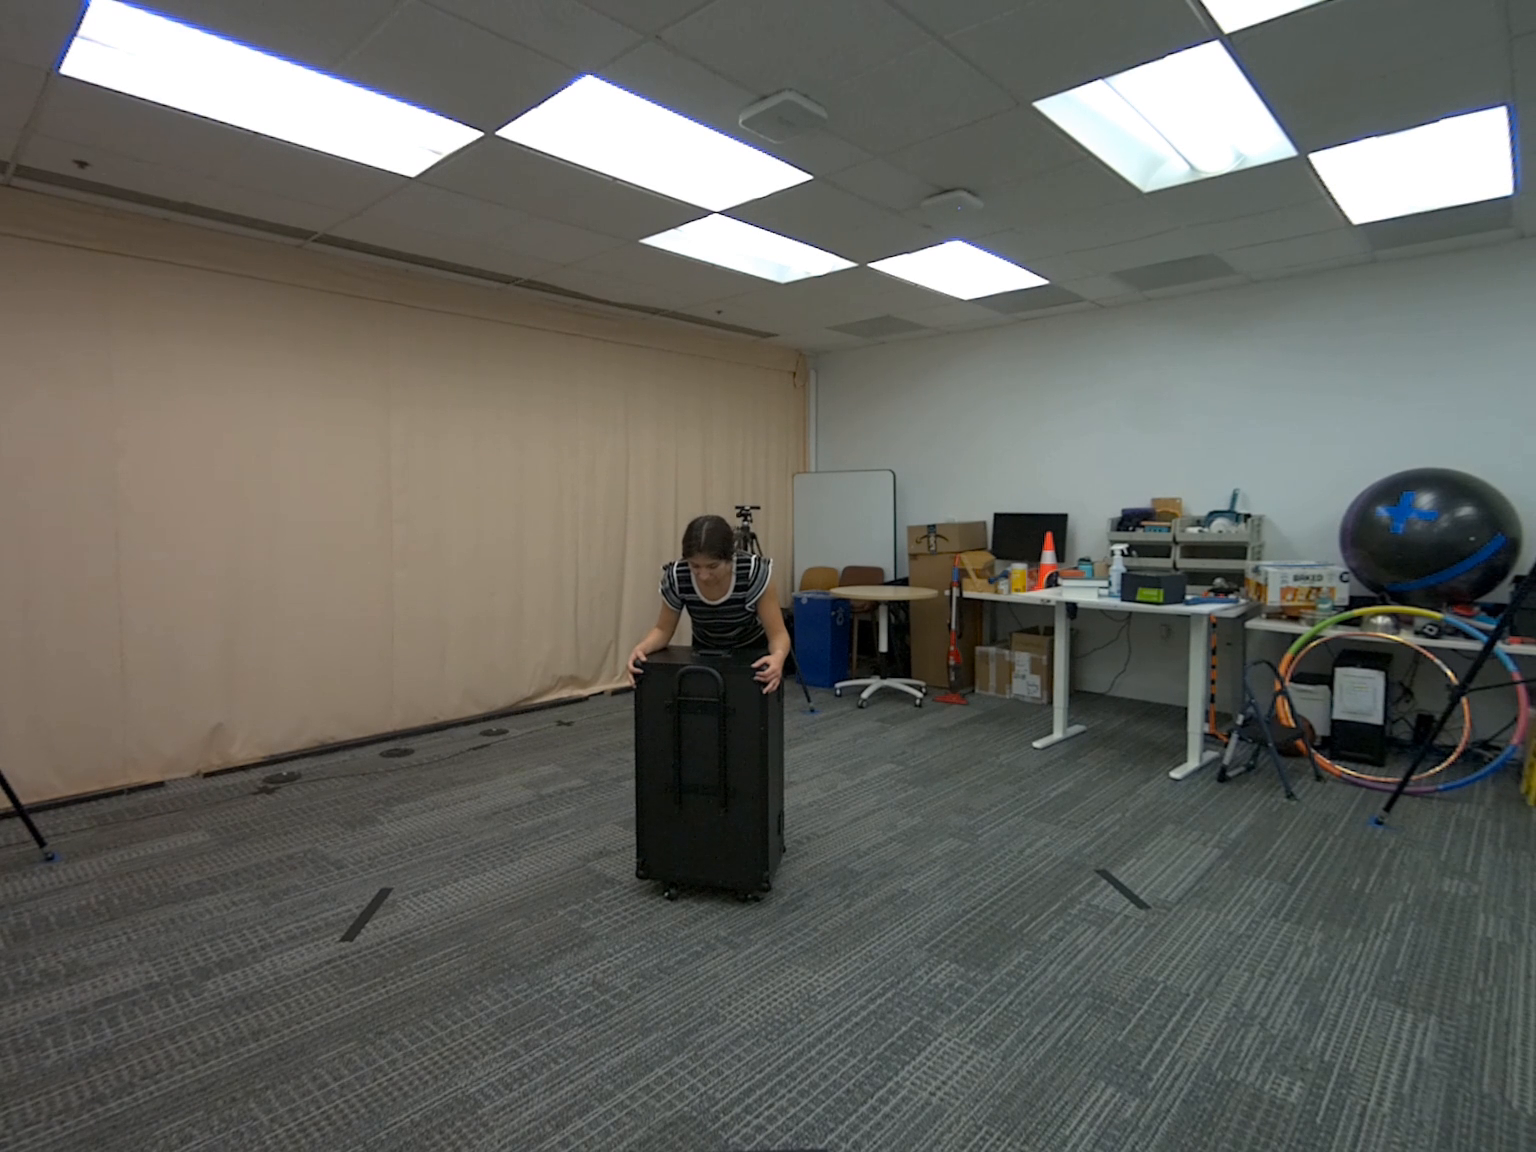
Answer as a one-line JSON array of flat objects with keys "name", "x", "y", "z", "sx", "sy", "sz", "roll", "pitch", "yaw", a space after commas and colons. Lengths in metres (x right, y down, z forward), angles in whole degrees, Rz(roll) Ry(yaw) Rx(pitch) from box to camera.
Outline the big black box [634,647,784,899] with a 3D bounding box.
[{"name": "big black box", "x": -0.191, "y": 0.717, "z": 3.073, "sx": 0.527, "sy": 0.859, "sz": 0.393, "roll": 0, "pitch": 5, "yaw": 10}]
